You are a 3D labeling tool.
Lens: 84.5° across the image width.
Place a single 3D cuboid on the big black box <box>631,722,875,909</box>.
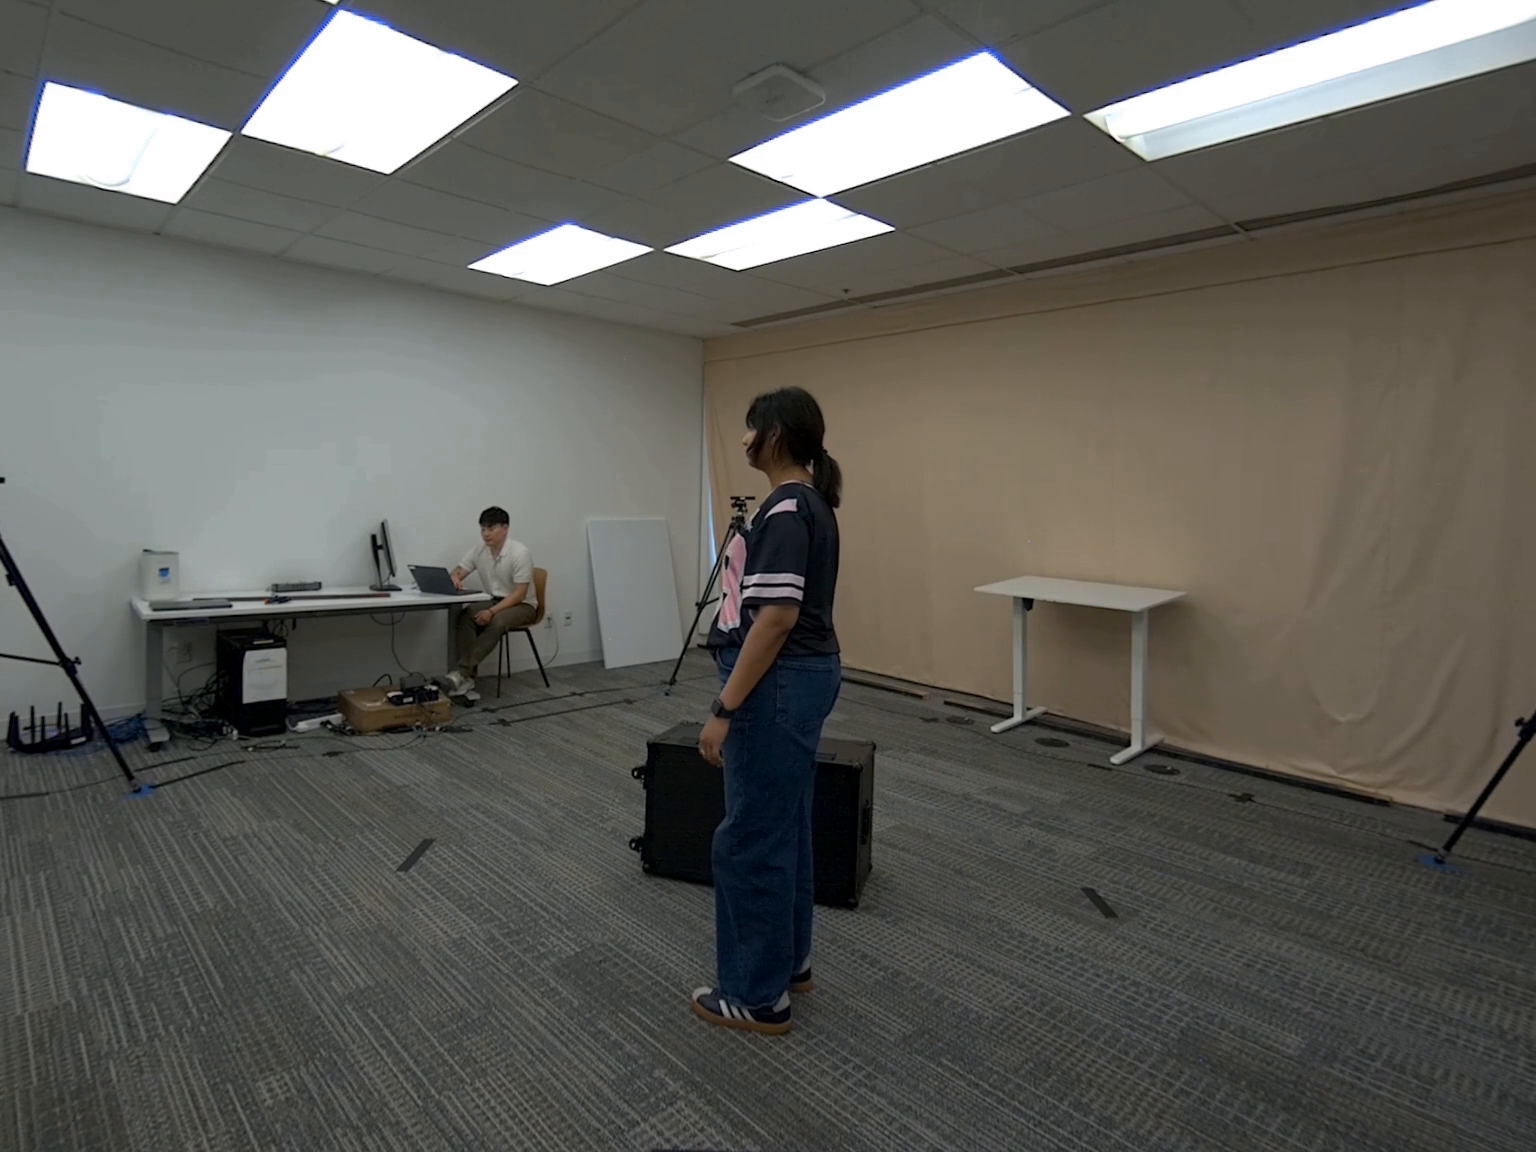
[{"bbox_3d":[-0.064,0.847,3.134,0.881,0.522,0.380,3,3,17],"label":"big black box"}]
